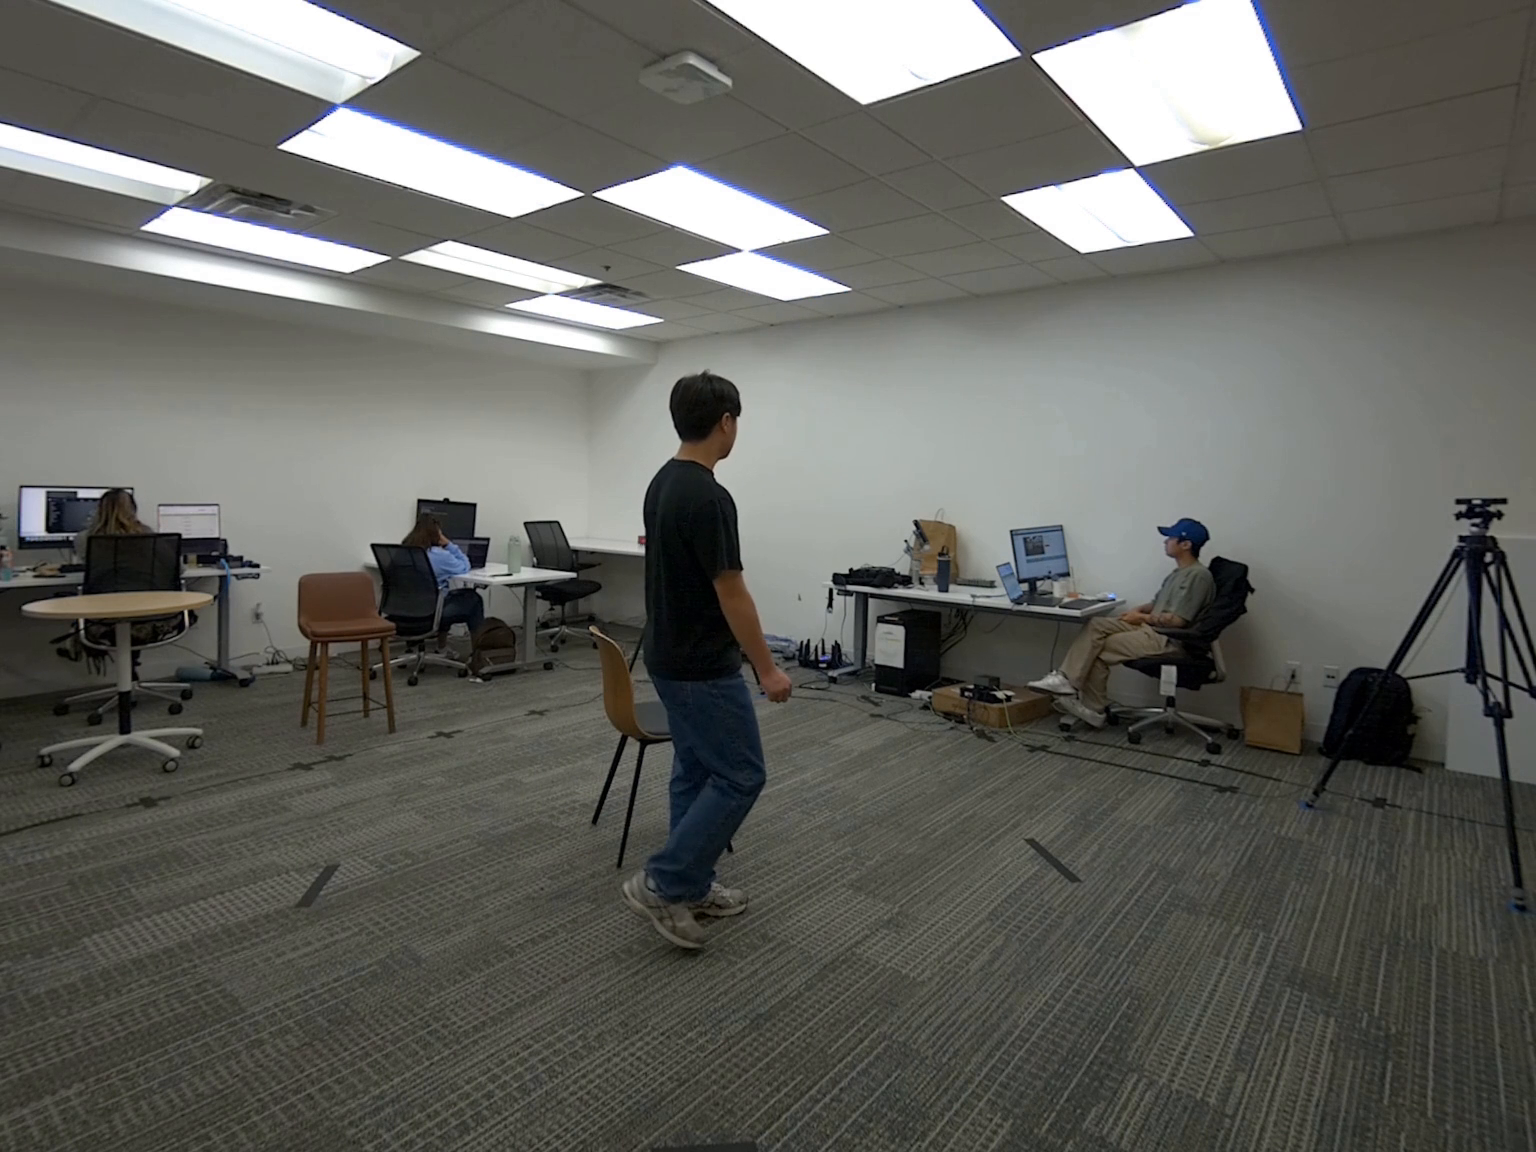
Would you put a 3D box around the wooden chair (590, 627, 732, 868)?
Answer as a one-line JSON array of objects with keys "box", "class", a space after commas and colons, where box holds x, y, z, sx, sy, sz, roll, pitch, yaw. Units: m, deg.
[{"box": [-0.431, 0.615, 3.362, 0.513, 0.873, 0.490, -4, 5, -22], "class": "wooden chair"}]
